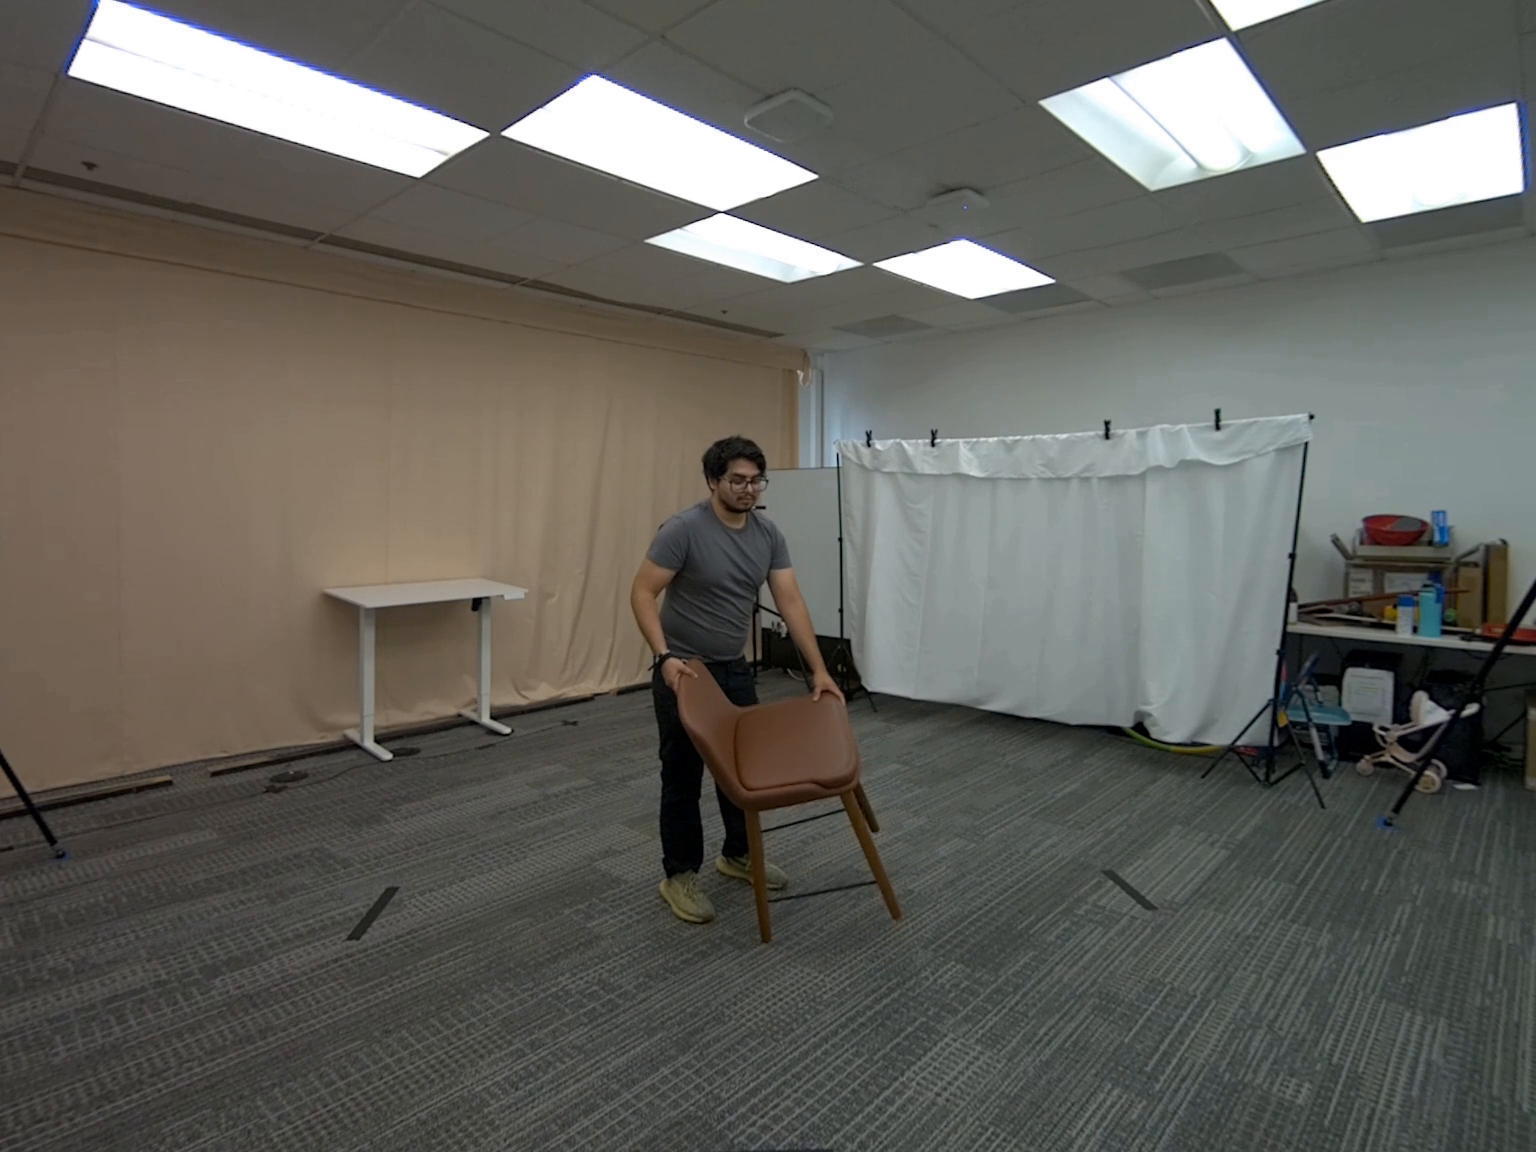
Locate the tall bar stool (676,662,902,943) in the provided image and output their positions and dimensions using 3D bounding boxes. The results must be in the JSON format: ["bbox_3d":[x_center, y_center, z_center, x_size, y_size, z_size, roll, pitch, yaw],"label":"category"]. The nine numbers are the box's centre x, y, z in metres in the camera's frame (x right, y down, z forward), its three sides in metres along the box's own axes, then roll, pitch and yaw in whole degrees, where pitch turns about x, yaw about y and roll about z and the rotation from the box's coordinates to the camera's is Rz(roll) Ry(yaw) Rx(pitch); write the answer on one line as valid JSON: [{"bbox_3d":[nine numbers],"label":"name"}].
[{"bbox_3d":[0.086,0.669,2.654,0.470,0.872,0.463,-16,24,6],"label":"tall bar stool"}]
